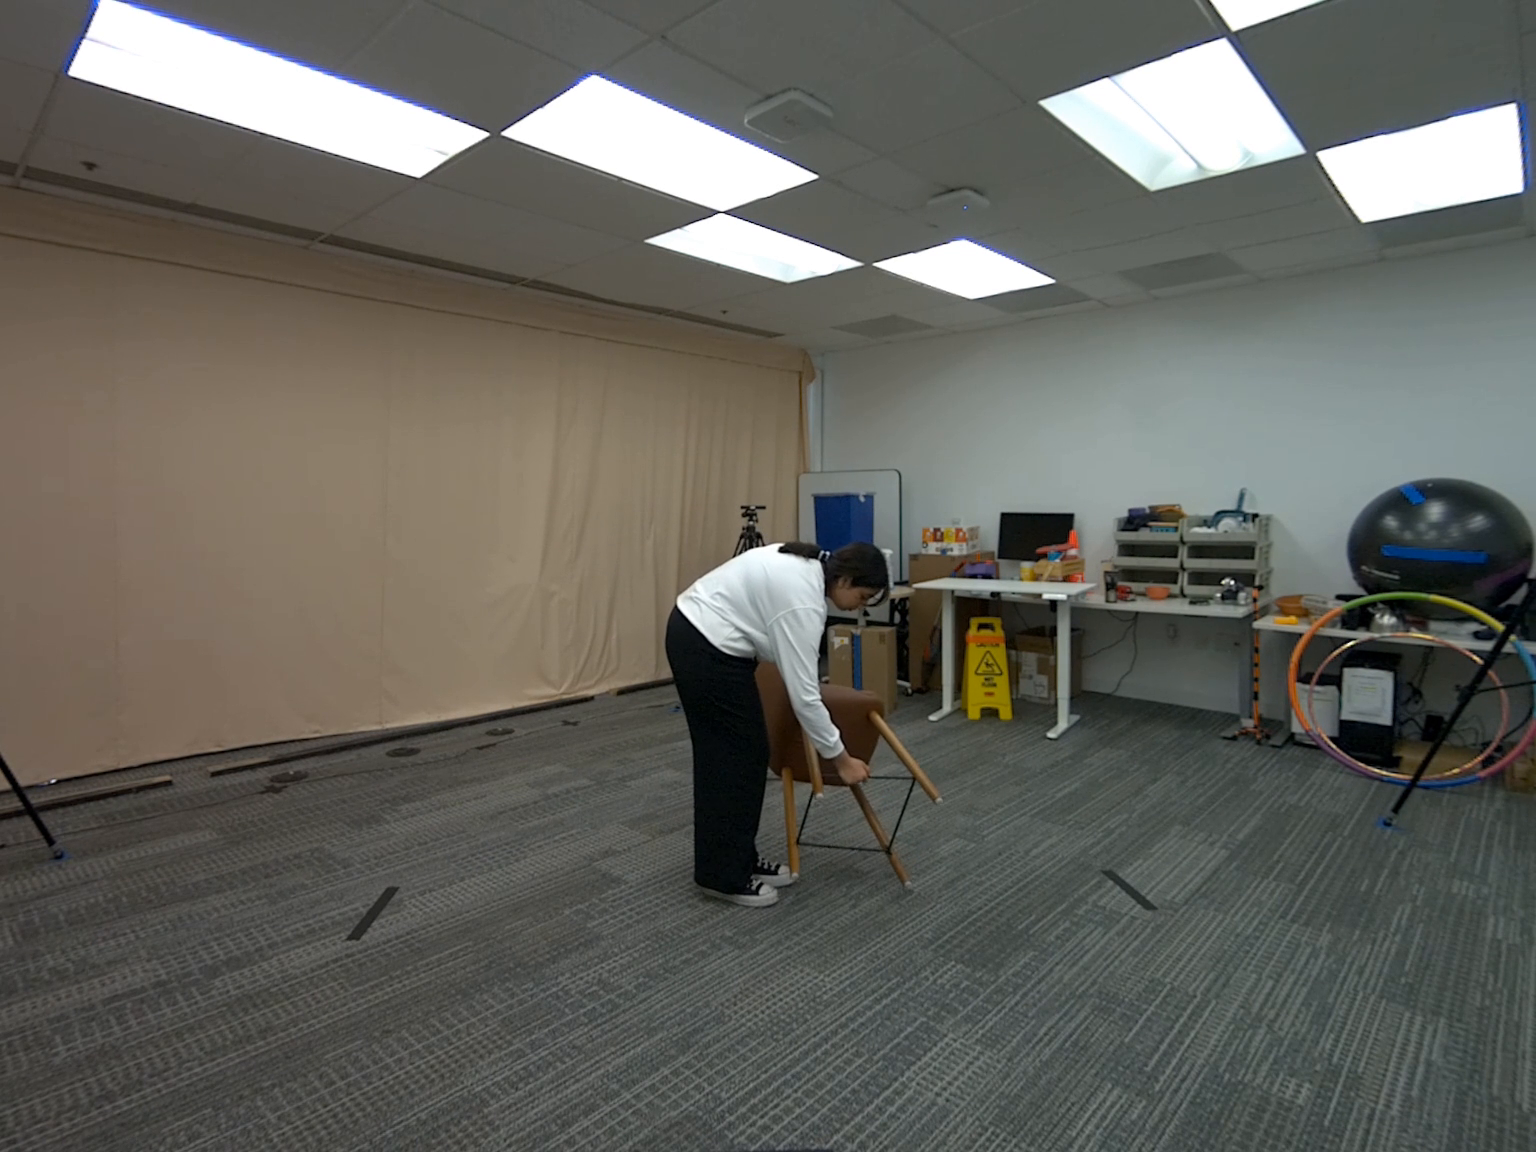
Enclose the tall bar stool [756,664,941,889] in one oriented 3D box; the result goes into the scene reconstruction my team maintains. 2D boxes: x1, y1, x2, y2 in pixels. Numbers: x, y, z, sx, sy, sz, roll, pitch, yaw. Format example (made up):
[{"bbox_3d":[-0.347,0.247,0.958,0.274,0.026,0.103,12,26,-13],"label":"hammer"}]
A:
[{"bbox_3d":[0.249,0.702,3.250,0.460,0.452,0.913,4,25,-16],"label":"tall bar stool"}]
